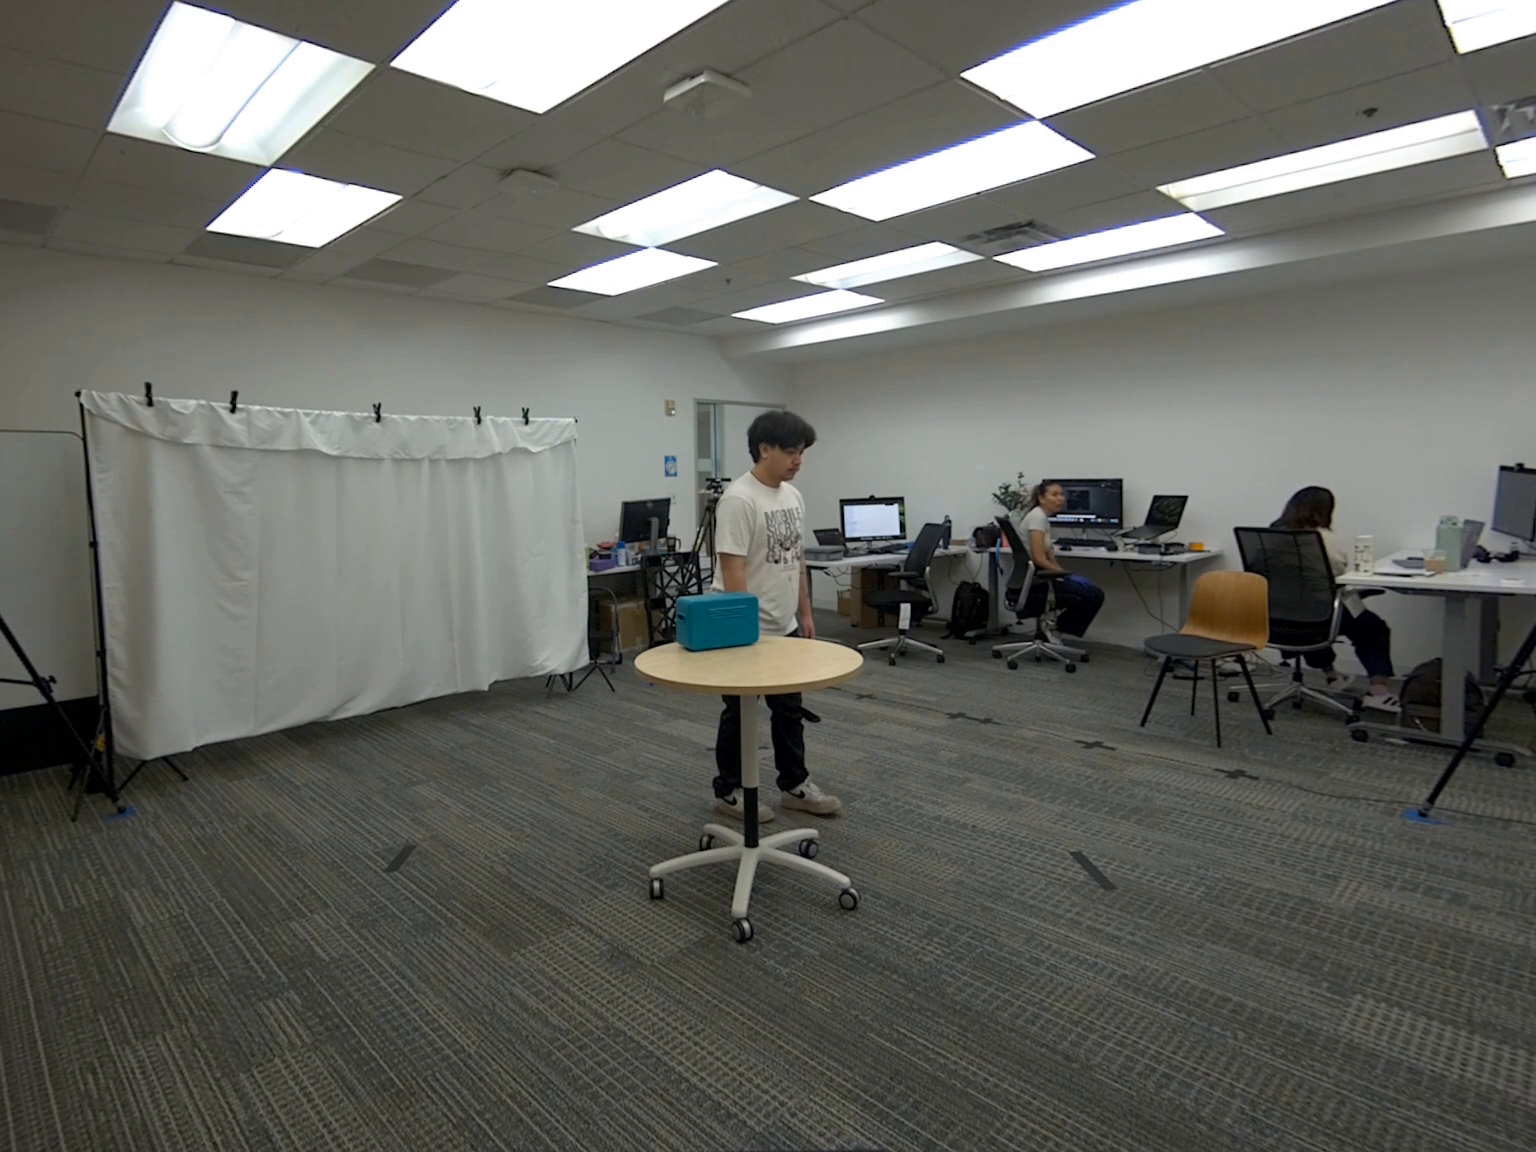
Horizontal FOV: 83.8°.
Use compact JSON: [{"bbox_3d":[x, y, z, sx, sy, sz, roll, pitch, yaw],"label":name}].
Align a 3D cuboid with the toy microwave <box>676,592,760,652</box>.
[{"bbox_3d":[-0.187,0.161,3.089,0.280,0.183,0.156,-4,6,-27],"label":"toy microwave"}]
